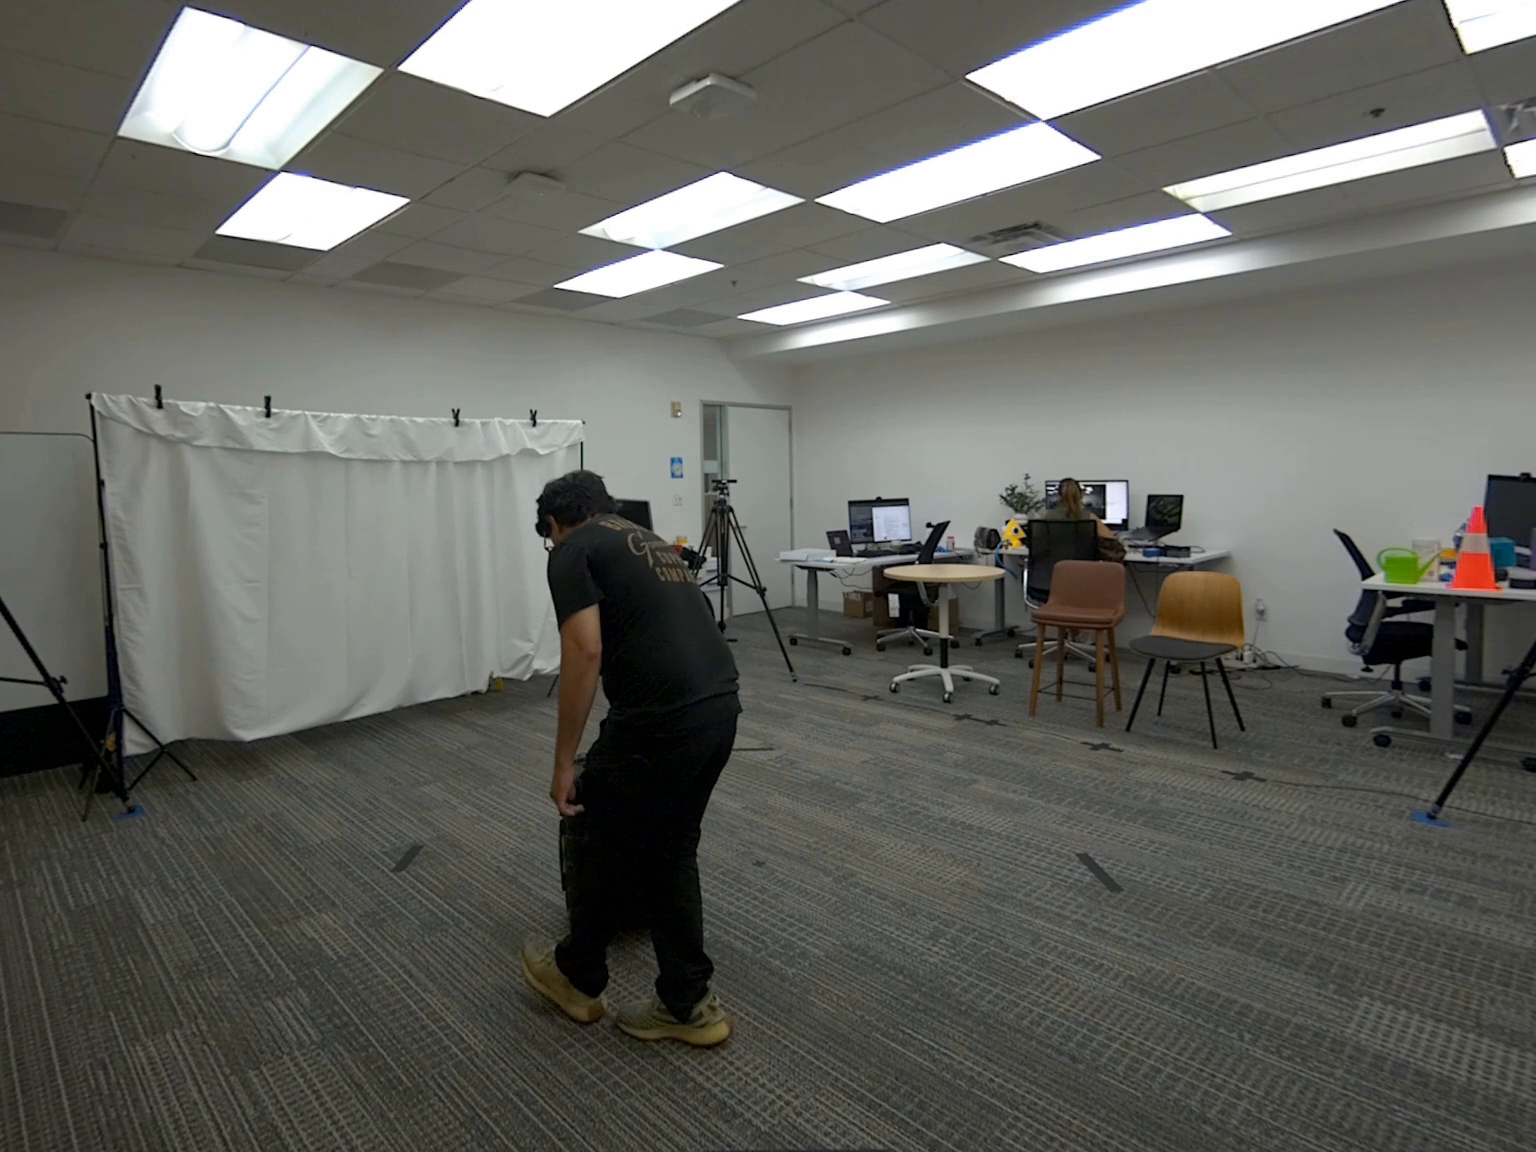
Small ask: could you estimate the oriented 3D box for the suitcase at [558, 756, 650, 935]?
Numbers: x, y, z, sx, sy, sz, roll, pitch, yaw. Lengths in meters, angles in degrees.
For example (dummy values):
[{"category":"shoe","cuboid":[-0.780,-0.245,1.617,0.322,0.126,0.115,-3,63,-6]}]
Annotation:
[{"category":"suitcase","cuboid":[-0.455,0.828,2.677,0.372,0.548,0.251,-2,3,-10]}]
